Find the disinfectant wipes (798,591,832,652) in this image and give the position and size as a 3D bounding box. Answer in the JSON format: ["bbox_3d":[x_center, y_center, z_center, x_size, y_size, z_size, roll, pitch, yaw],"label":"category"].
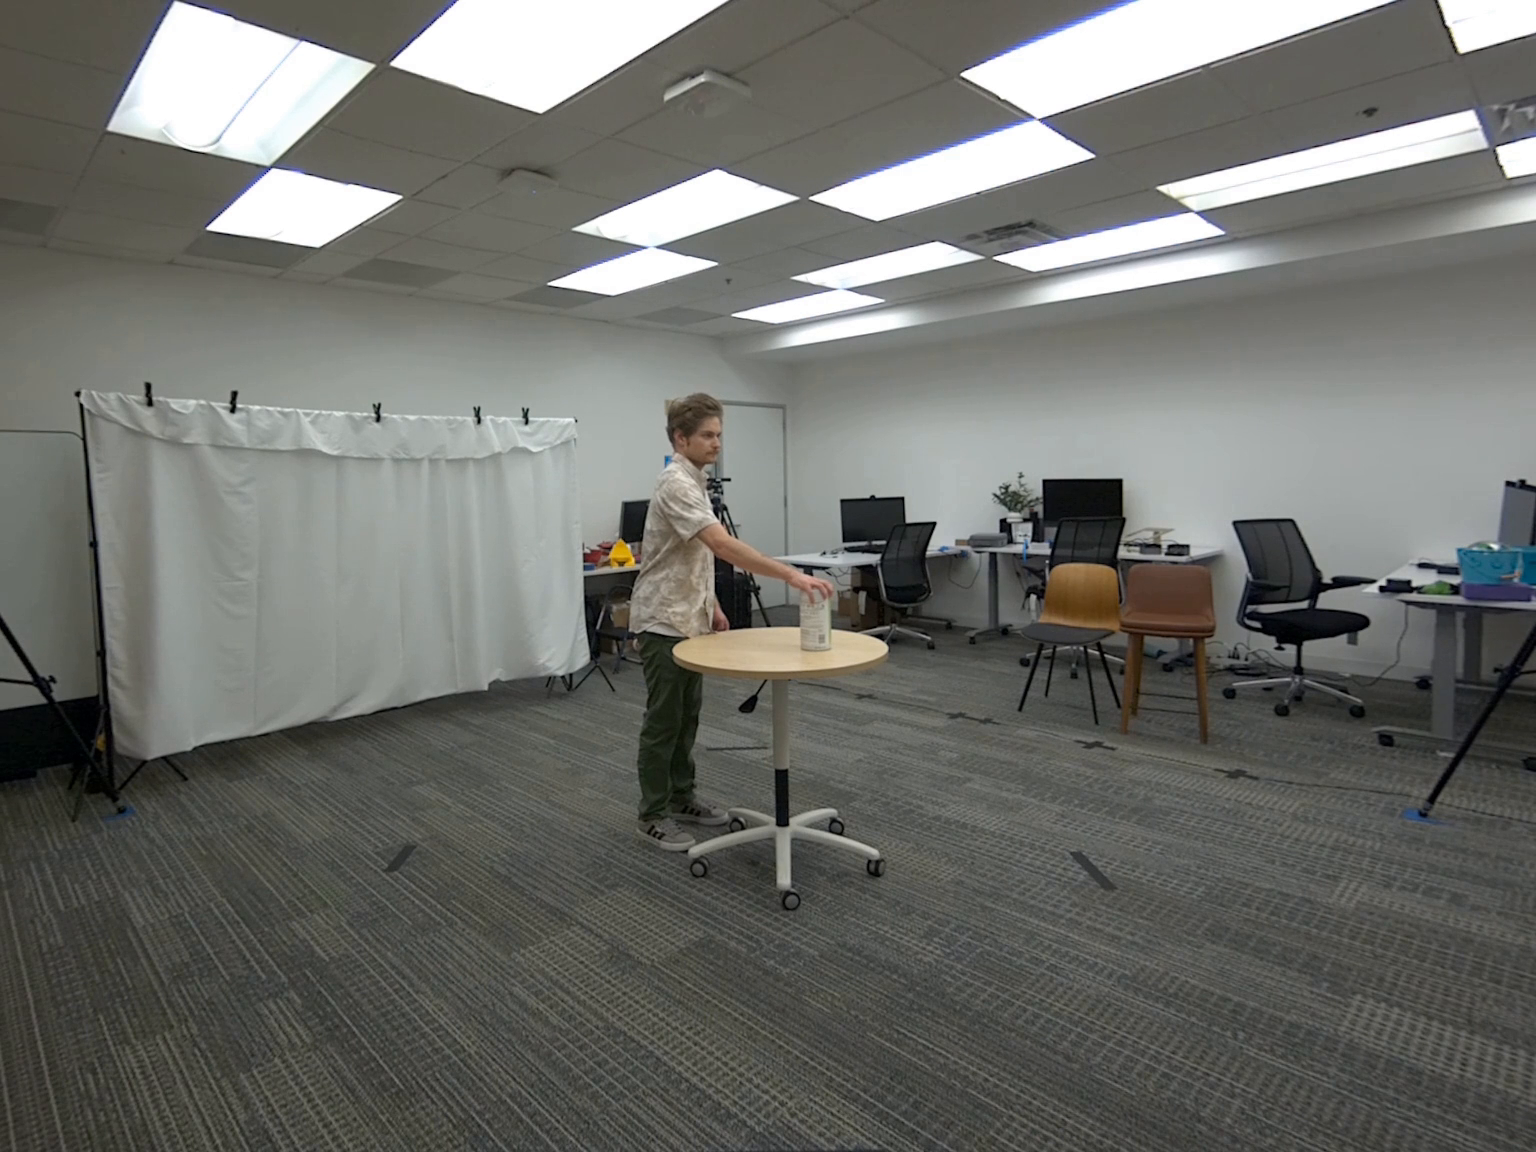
[{"bbox_3d":[0.169,0.150,3.006,0.118,0.217,0.118,-1,4,-2],"label":"disinfectant wipes"}]
